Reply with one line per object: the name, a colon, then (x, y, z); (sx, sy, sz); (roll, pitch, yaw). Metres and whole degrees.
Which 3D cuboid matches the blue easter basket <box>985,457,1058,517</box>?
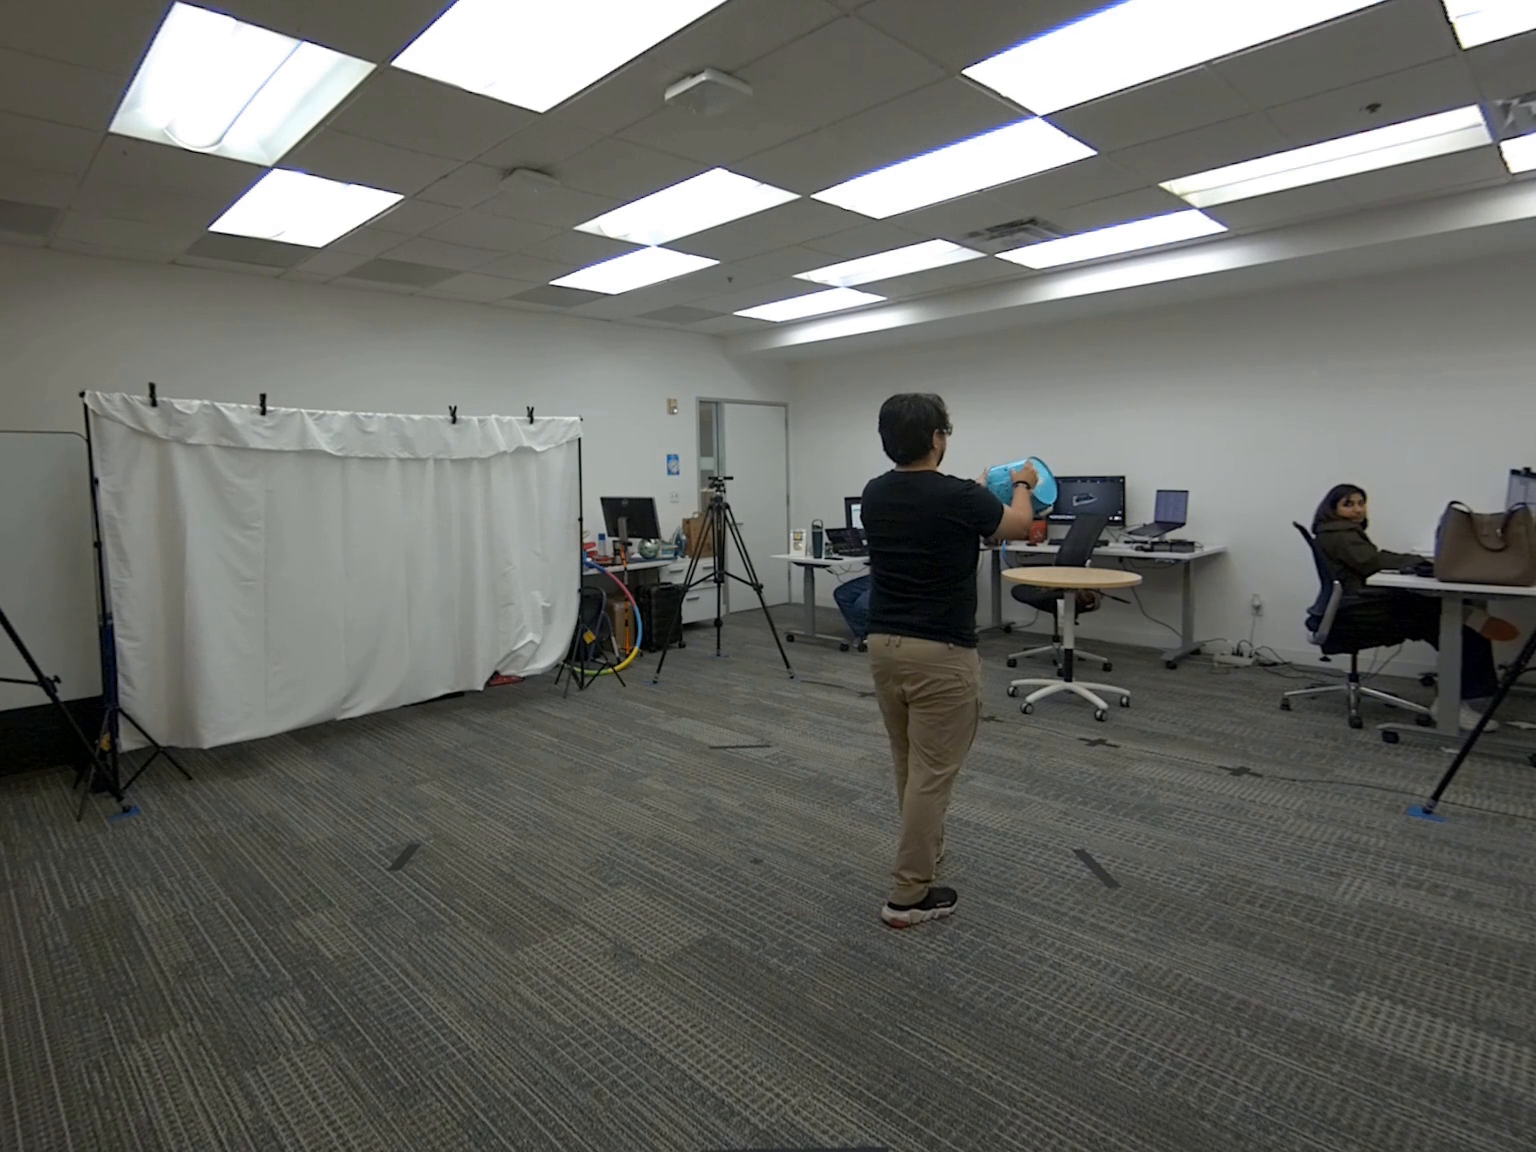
blue easter basket: (0.919, -0.317, 3.092); (0.237, 0.247, 0.158); (-5, -14, -39)
